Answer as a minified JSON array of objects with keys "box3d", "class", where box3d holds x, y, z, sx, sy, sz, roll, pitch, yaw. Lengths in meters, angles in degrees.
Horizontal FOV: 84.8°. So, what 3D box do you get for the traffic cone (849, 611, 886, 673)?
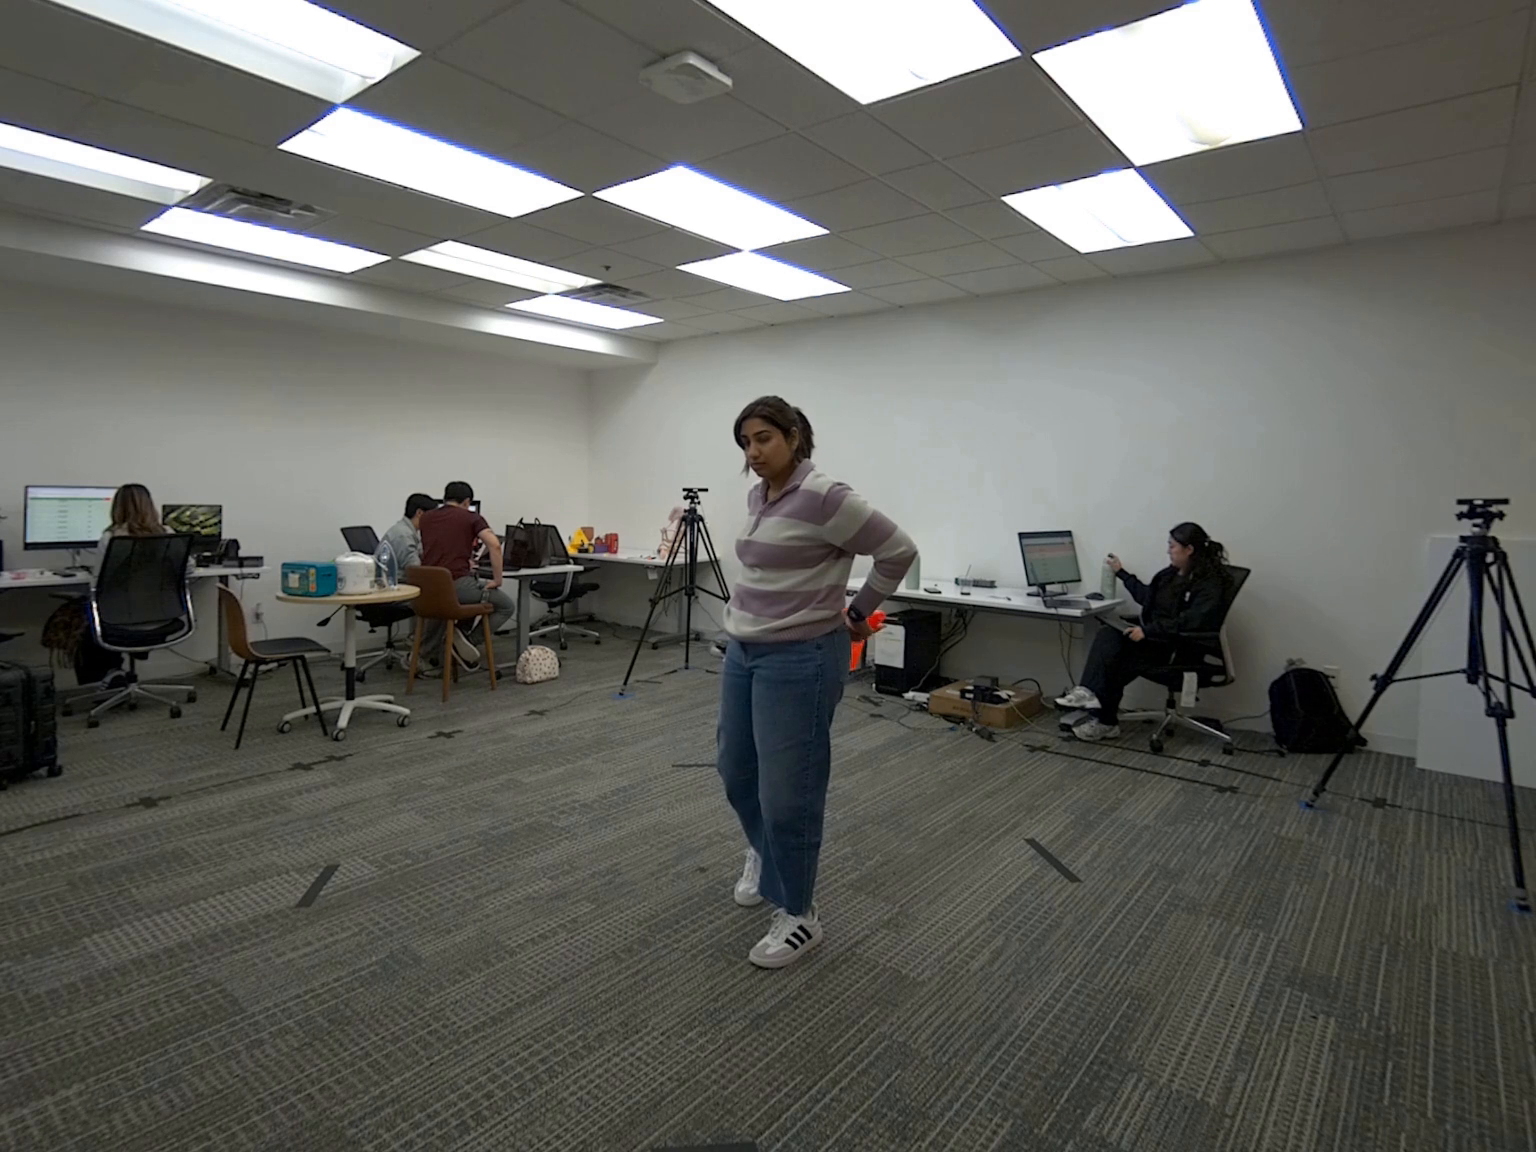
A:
[{"box3d":[0.285,0.150,2.777,0.202,0.206,0.384,31,-19,-6],"class":"traffic cone"}]
